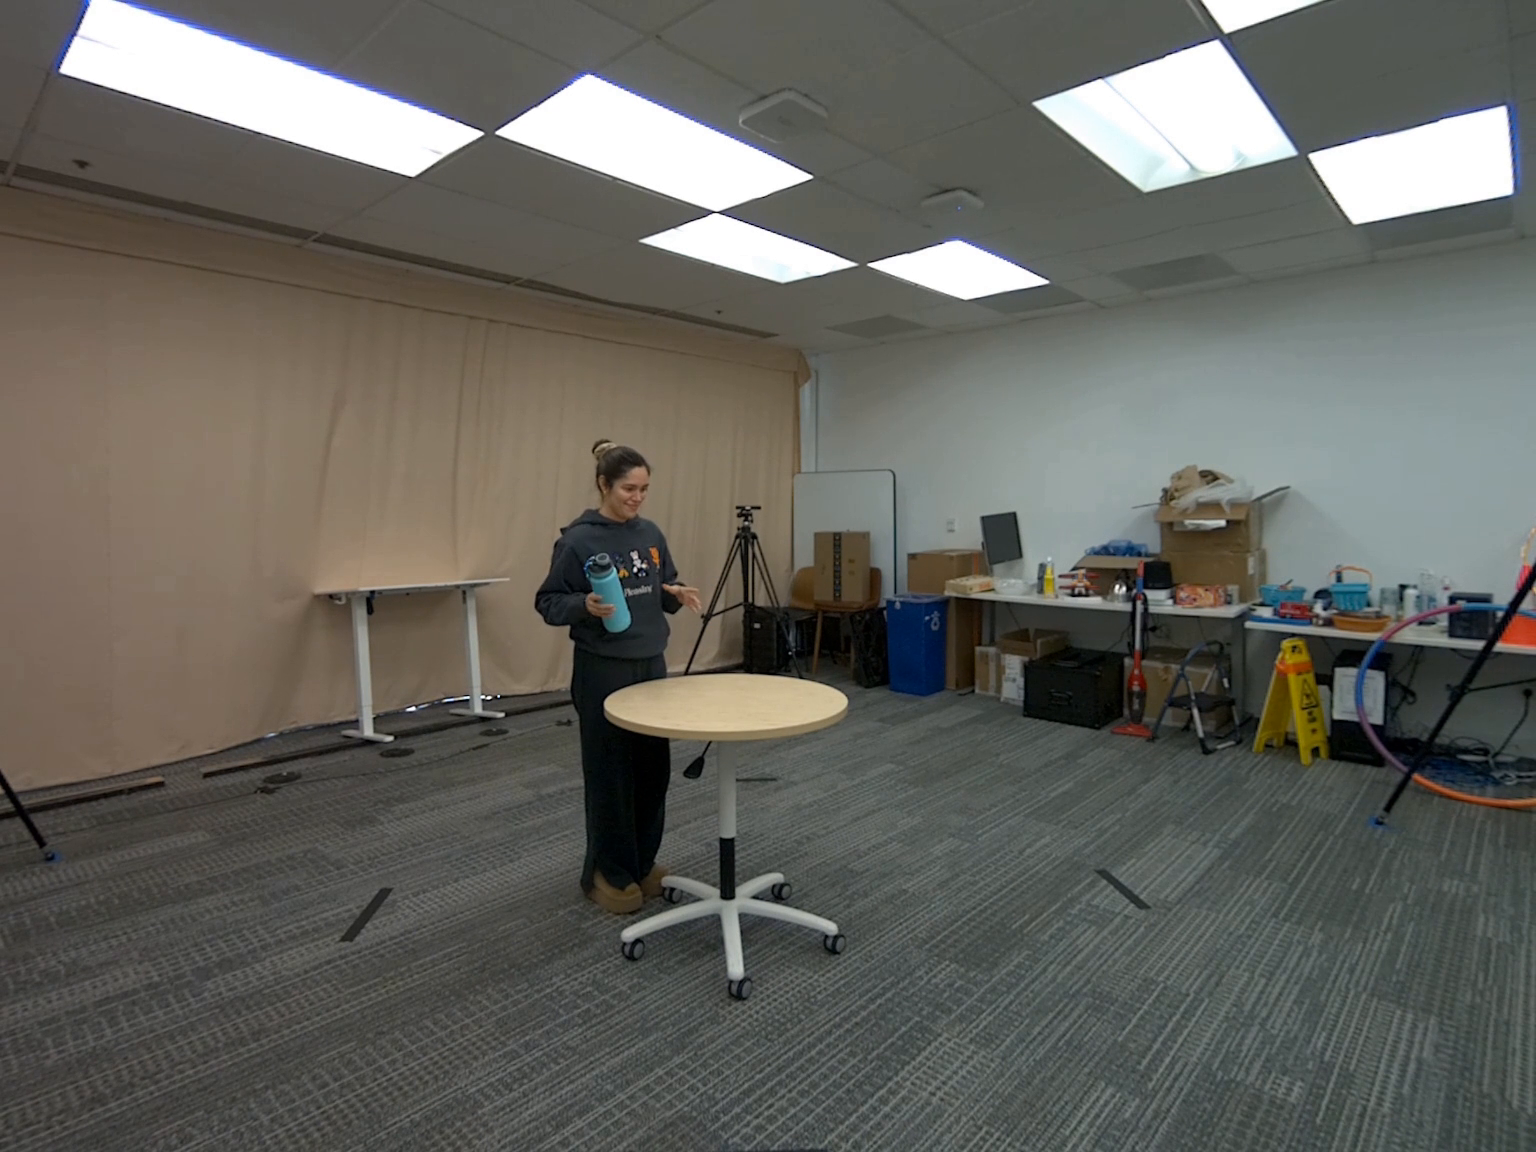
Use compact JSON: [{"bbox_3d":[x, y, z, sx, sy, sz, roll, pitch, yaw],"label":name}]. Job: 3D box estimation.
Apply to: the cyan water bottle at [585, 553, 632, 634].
[{"bbox_3d":[-0.492,0.032,2.707,0.093,0.277,0.094,-6,39,3],"label":"cyan water bottle"}]
